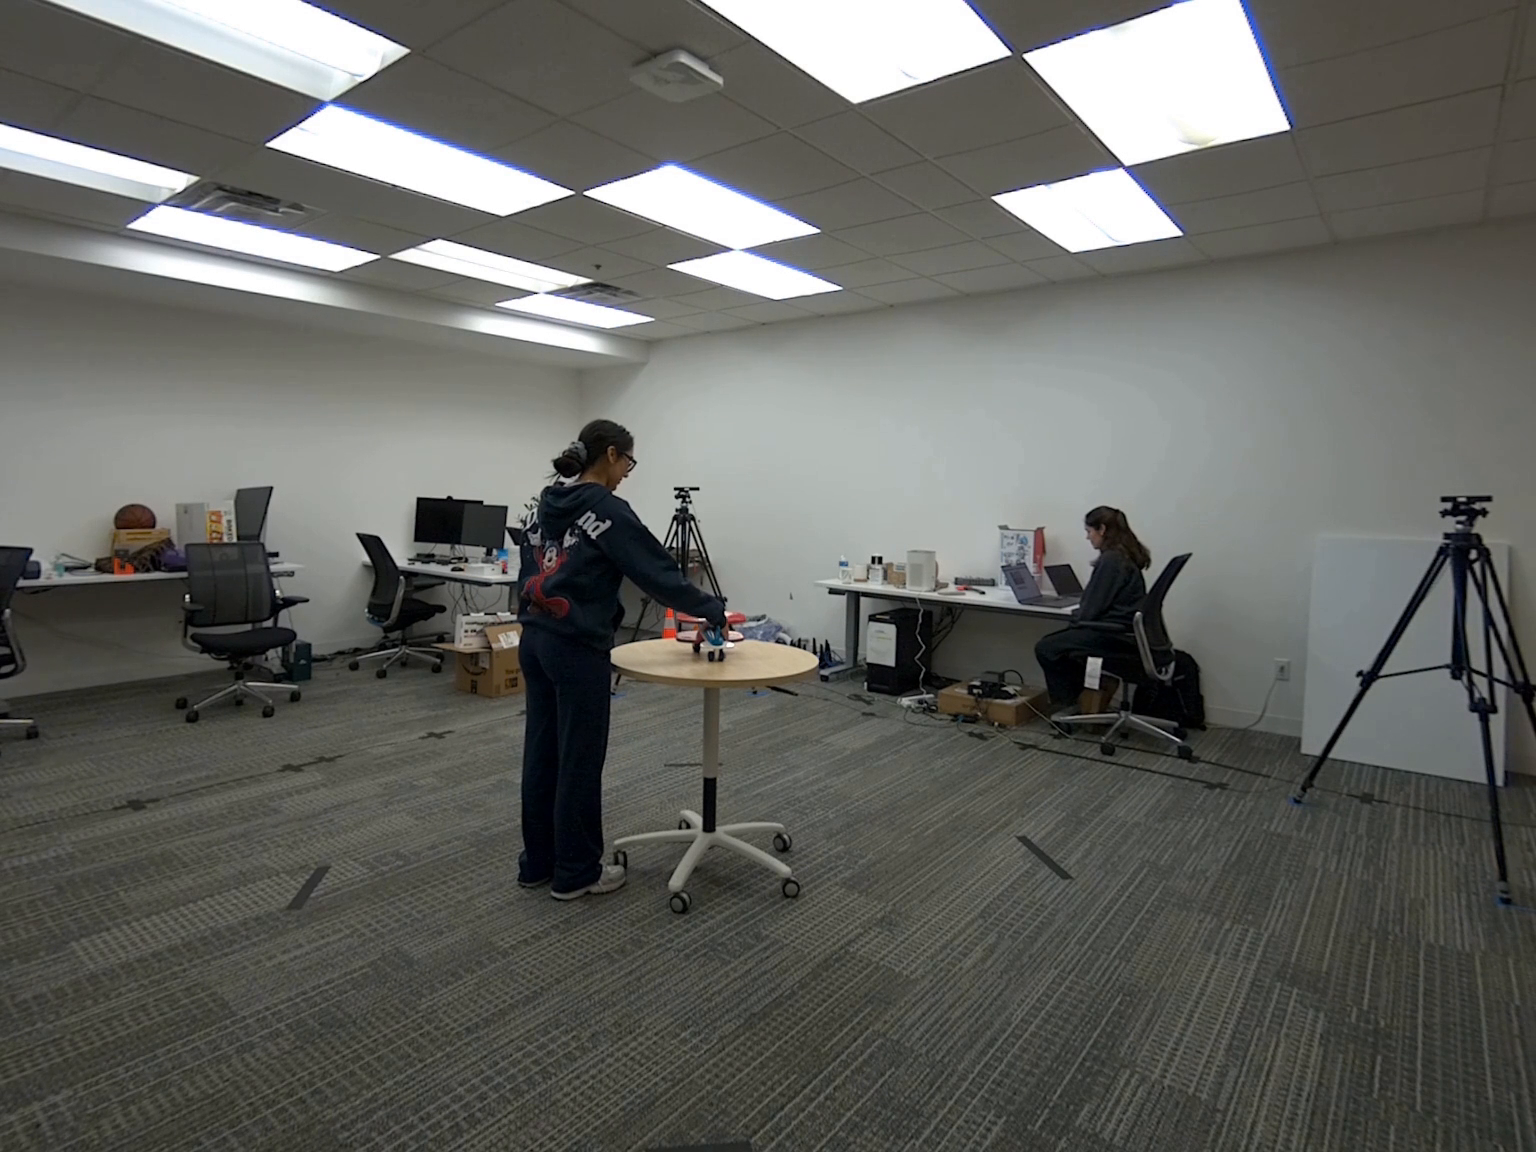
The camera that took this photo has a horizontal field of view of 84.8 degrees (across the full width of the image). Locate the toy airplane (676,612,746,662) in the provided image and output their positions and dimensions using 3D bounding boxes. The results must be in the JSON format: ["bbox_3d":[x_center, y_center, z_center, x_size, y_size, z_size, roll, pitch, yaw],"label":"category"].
[{"bbox_3d":[-0.201,0.217,3.076,0.243,0.156,0.268,-1,5,-37],"label":"toy airplane"}]
